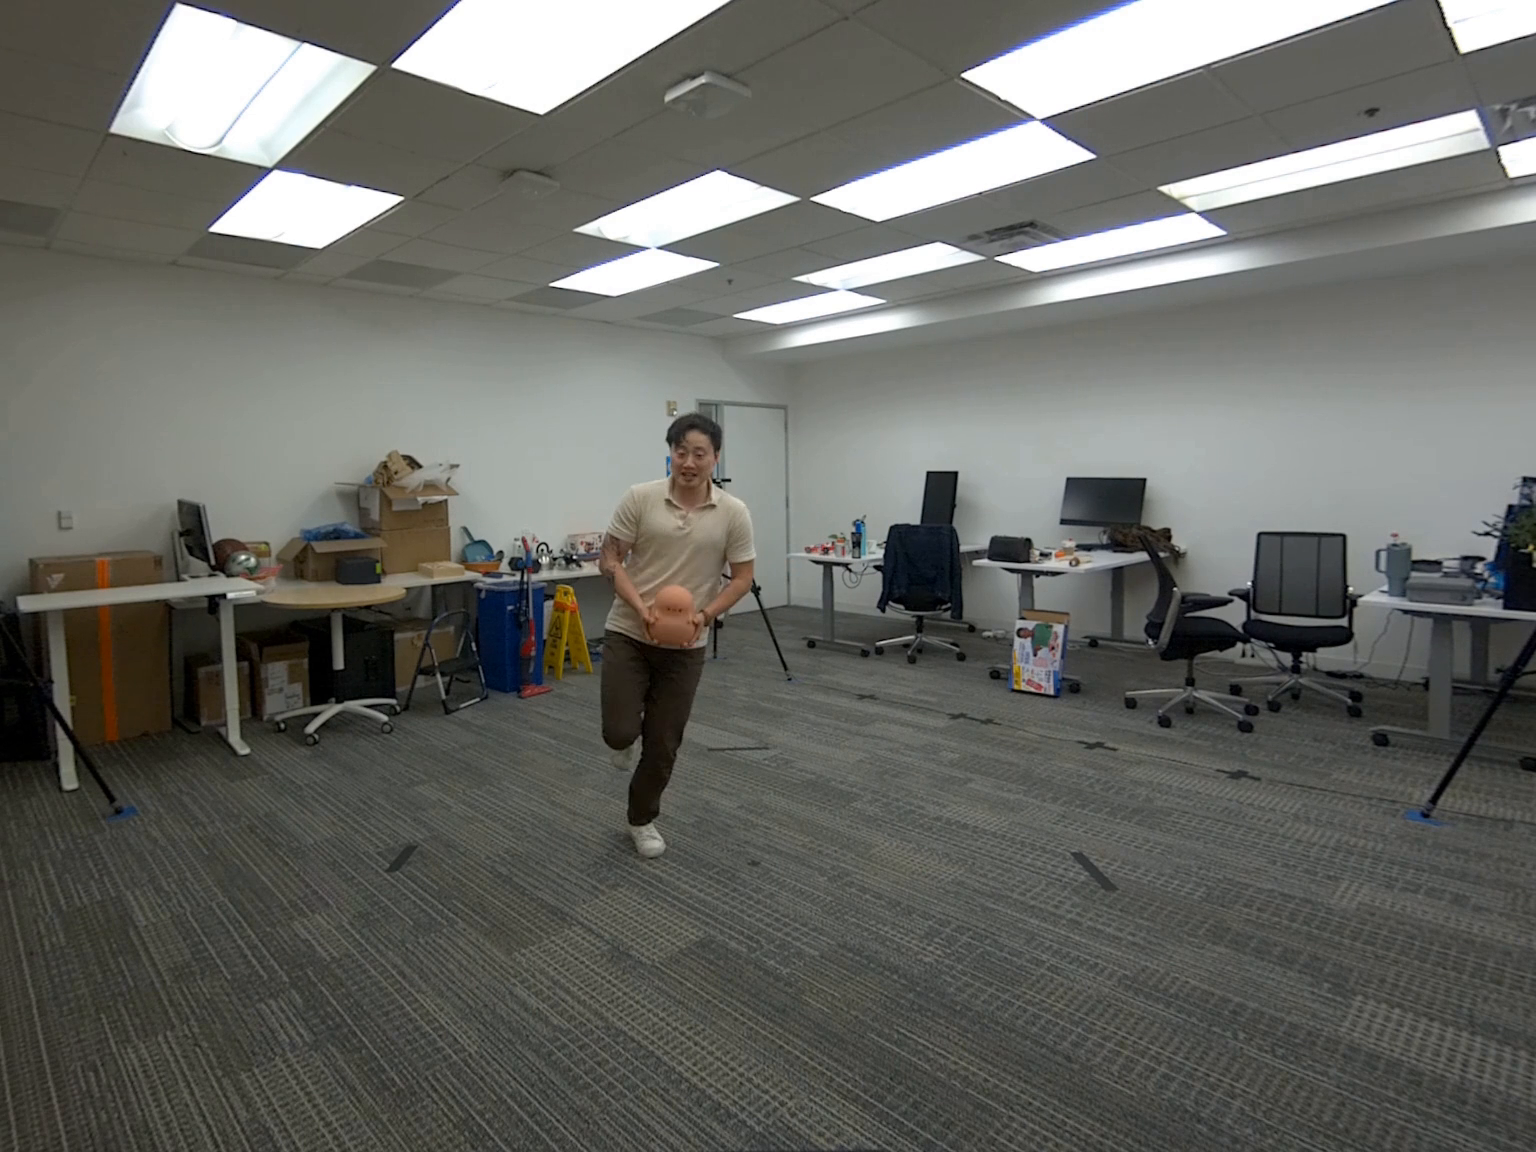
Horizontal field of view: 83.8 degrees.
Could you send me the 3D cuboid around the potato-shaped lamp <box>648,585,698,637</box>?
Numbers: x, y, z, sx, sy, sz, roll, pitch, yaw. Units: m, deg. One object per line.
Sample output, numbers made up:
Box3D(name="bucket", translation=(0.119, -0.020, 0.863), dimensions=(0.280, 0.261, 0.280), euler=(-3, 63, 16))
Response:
Box3D(name="potato-shaped lamp", translation=(-0.336, 0.056, 2.984), dimensions=(0.166, 0.195, 0.173), euler=(-2, 16, 6))
